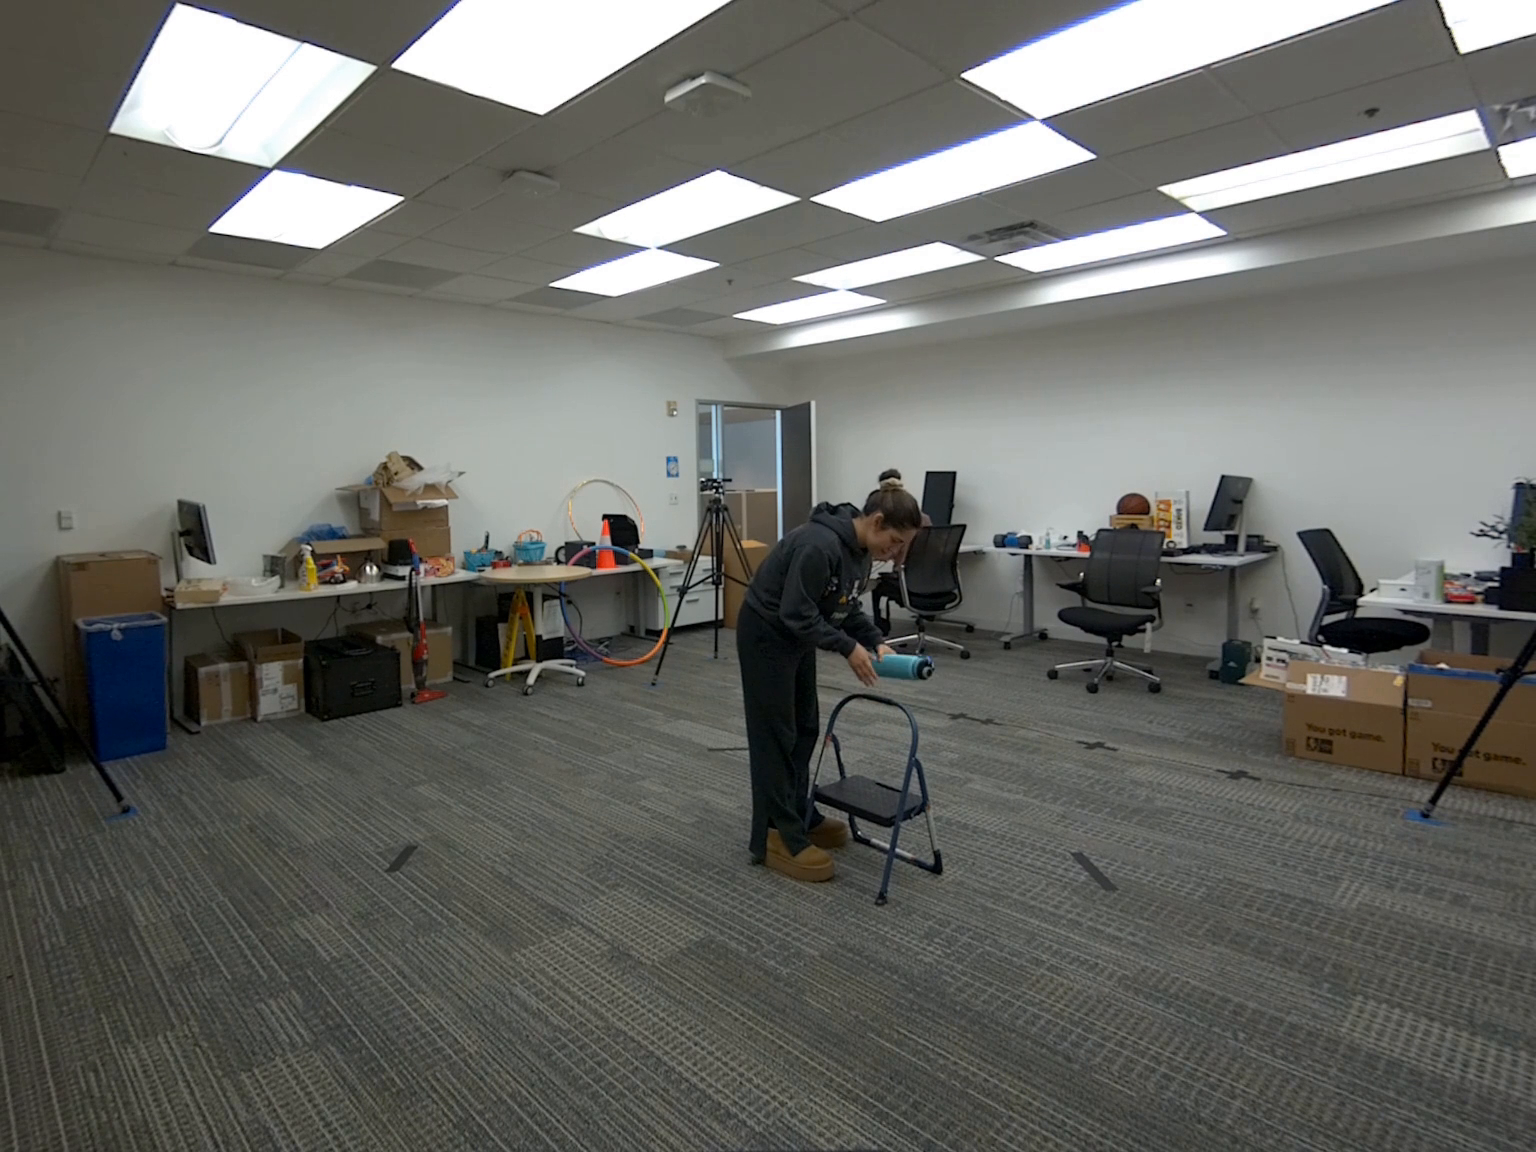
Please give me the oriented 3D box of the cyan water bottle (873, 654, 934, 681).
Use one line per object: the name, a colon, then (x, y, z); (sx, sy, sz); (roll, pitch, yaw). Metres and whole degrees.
cyan water bottle: (0.478, 0.337, 3.146); (0.090, 0.092, 0.291); (-5, 1, -41)
